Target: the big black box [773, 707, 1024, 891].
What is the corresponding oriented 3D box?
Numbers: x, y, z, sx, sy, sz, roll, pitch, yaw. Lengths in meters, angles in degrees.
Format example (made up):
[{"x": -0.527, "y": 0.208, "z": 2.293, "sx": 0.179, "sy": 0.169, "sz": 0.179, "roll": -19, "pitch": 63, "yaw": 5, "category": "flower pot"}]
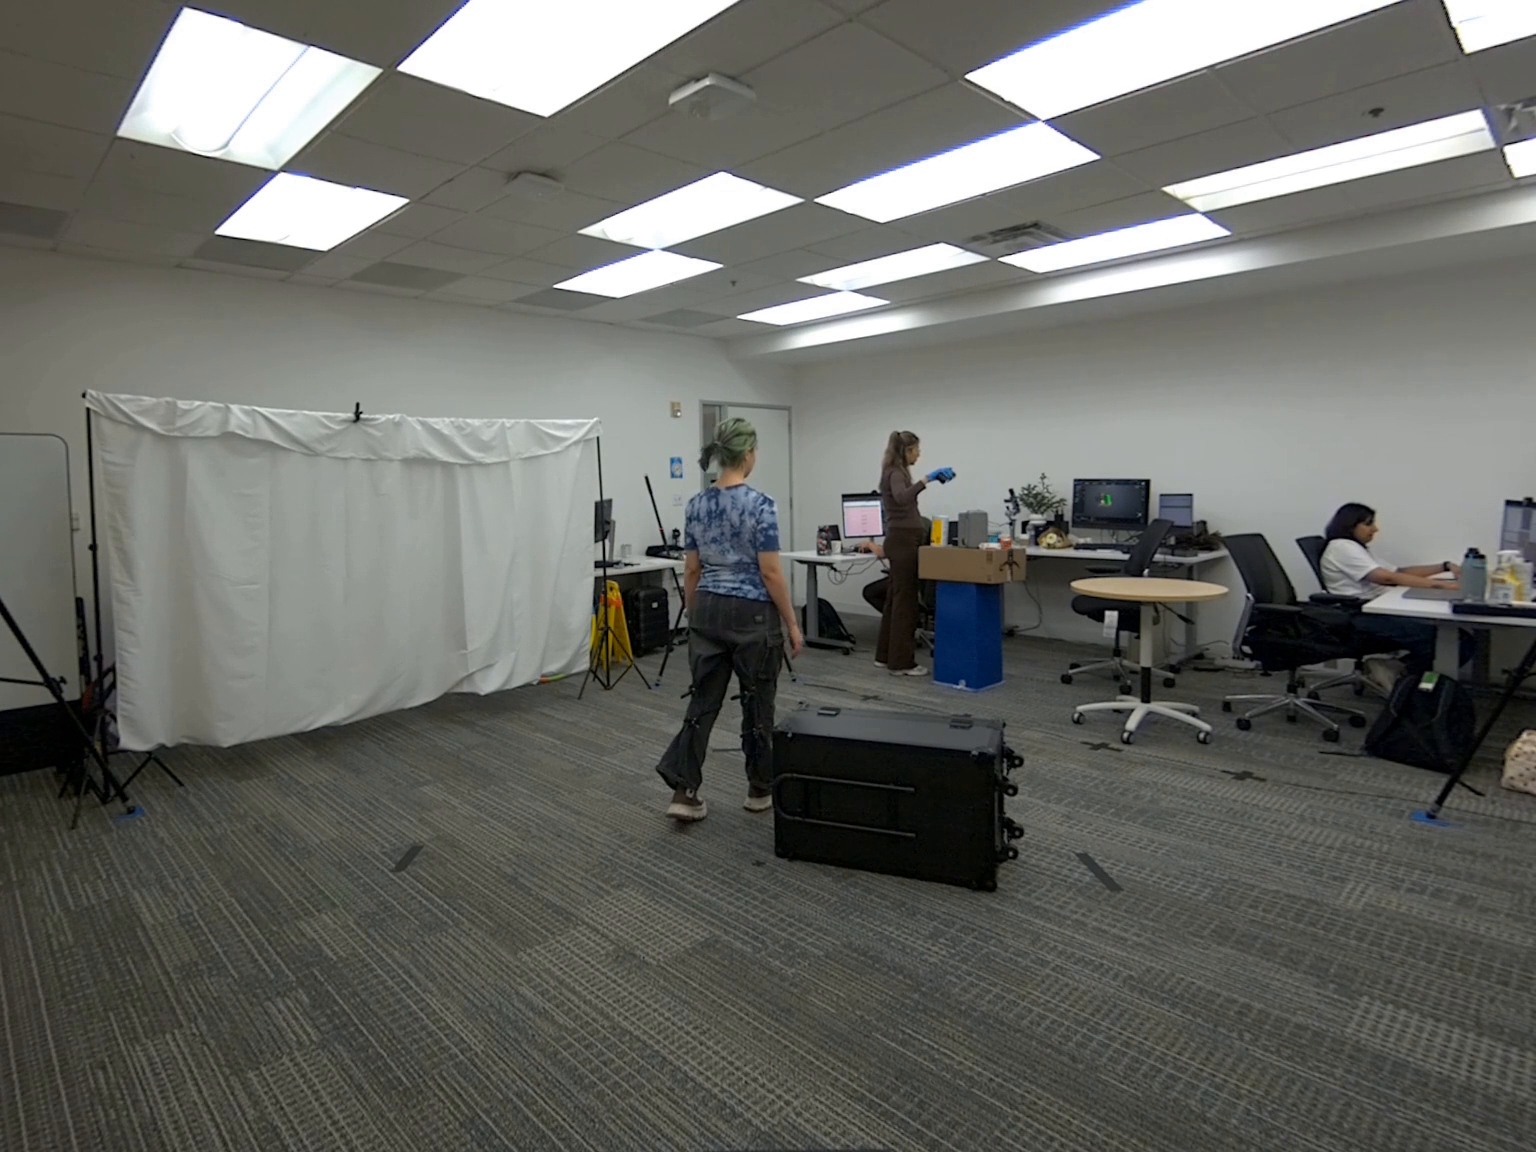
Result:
[{"x": 0.470, "y": 0.779, "z": 3.118, "sx": 0.879, "sy": 0.518, "sz": 0.390, "roll": 0, "pitch": 7, "yaw": 22, "category": "big black box"}]
